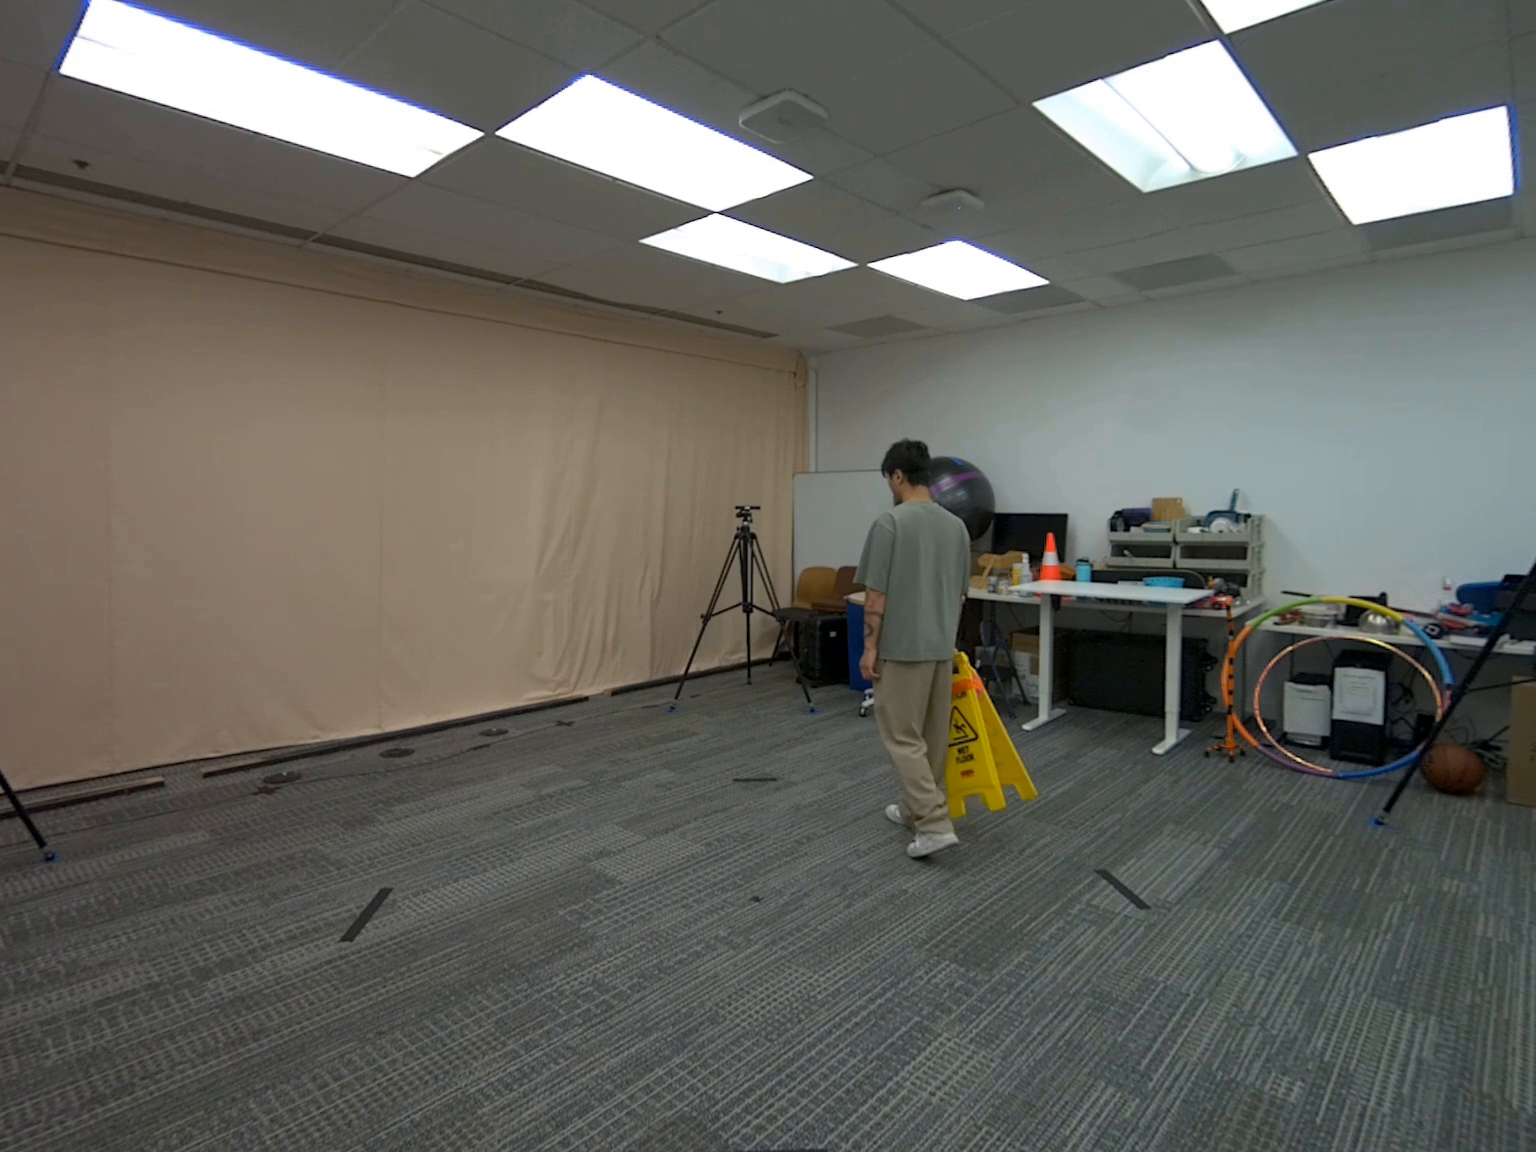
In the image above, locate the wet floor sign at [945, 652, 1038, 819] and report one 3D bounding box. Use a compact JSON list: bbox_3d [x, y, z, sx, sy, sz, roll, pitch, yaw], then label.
[{"bbox_3d":[0.857,0.665,3.608,0.281,0.655,0.287,-2,-21,-40],"label":"wet floor sign"}]
